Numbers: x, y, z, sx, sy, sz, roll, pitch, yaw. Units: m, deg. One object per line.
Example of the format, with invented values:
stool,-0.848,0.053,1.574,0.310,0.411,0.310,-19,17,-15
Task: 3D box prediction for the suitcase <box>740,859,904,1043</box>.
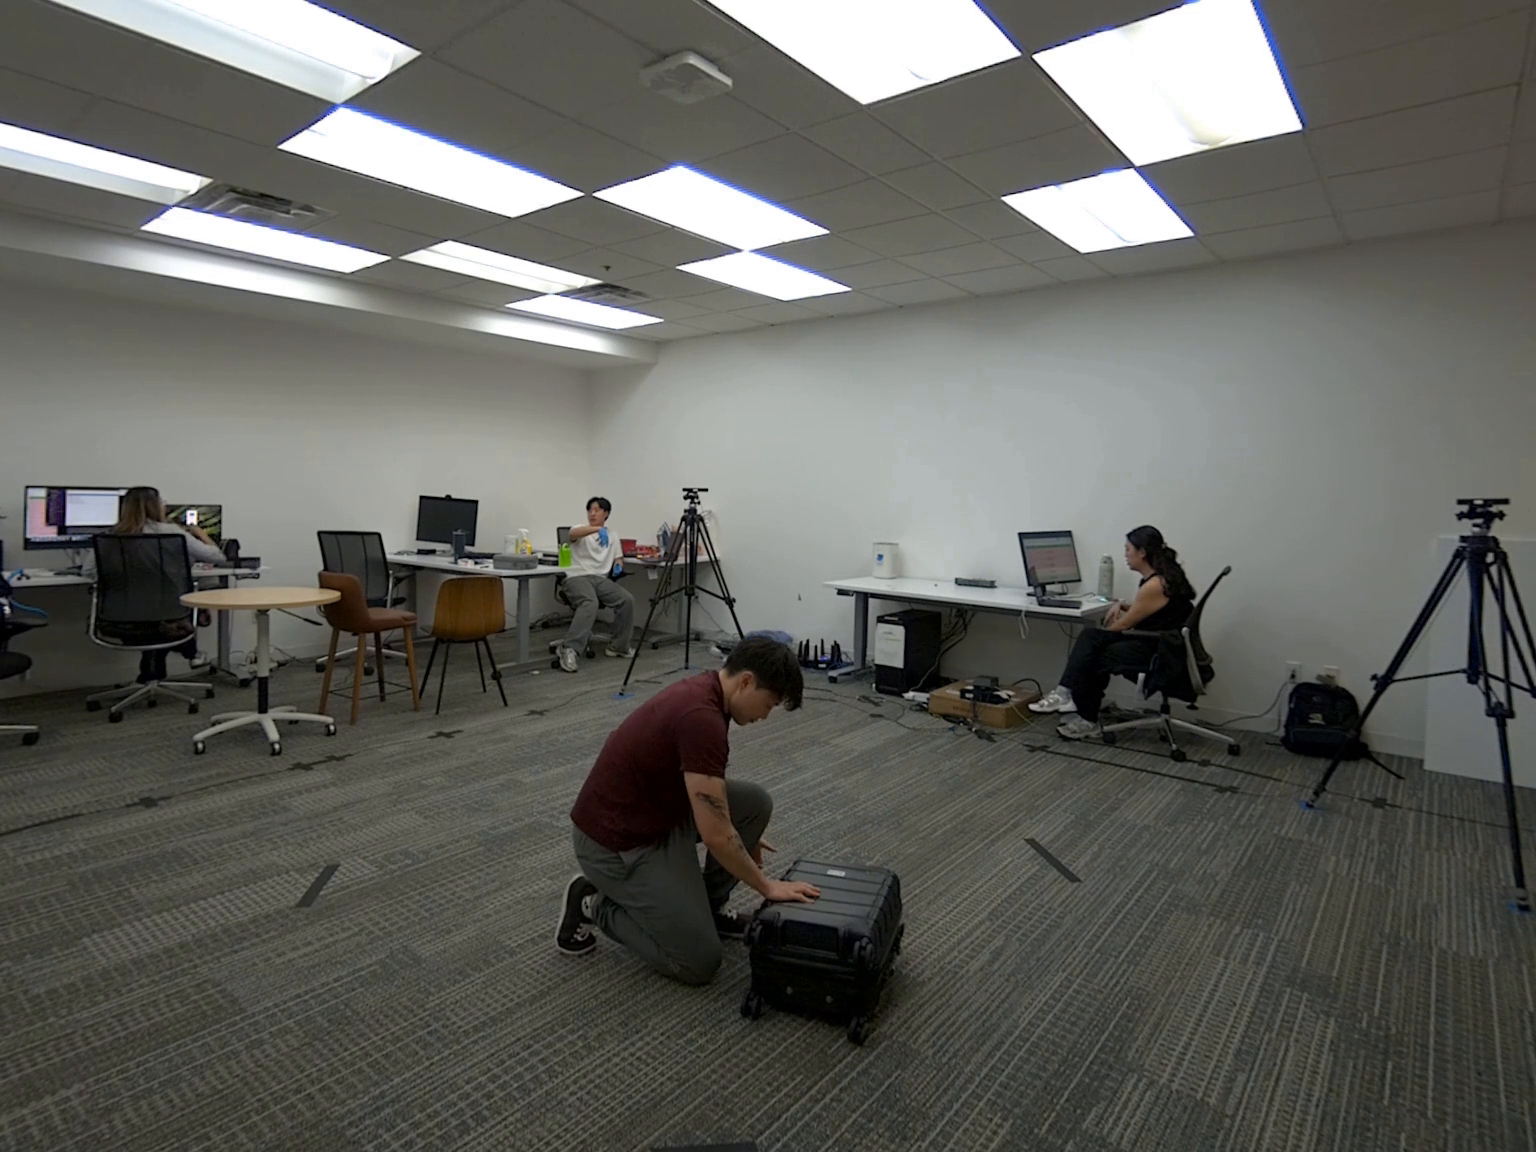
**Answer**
suitcase,0.230,1.005,2.620,0.391,0.256,0.964,0,5,17
